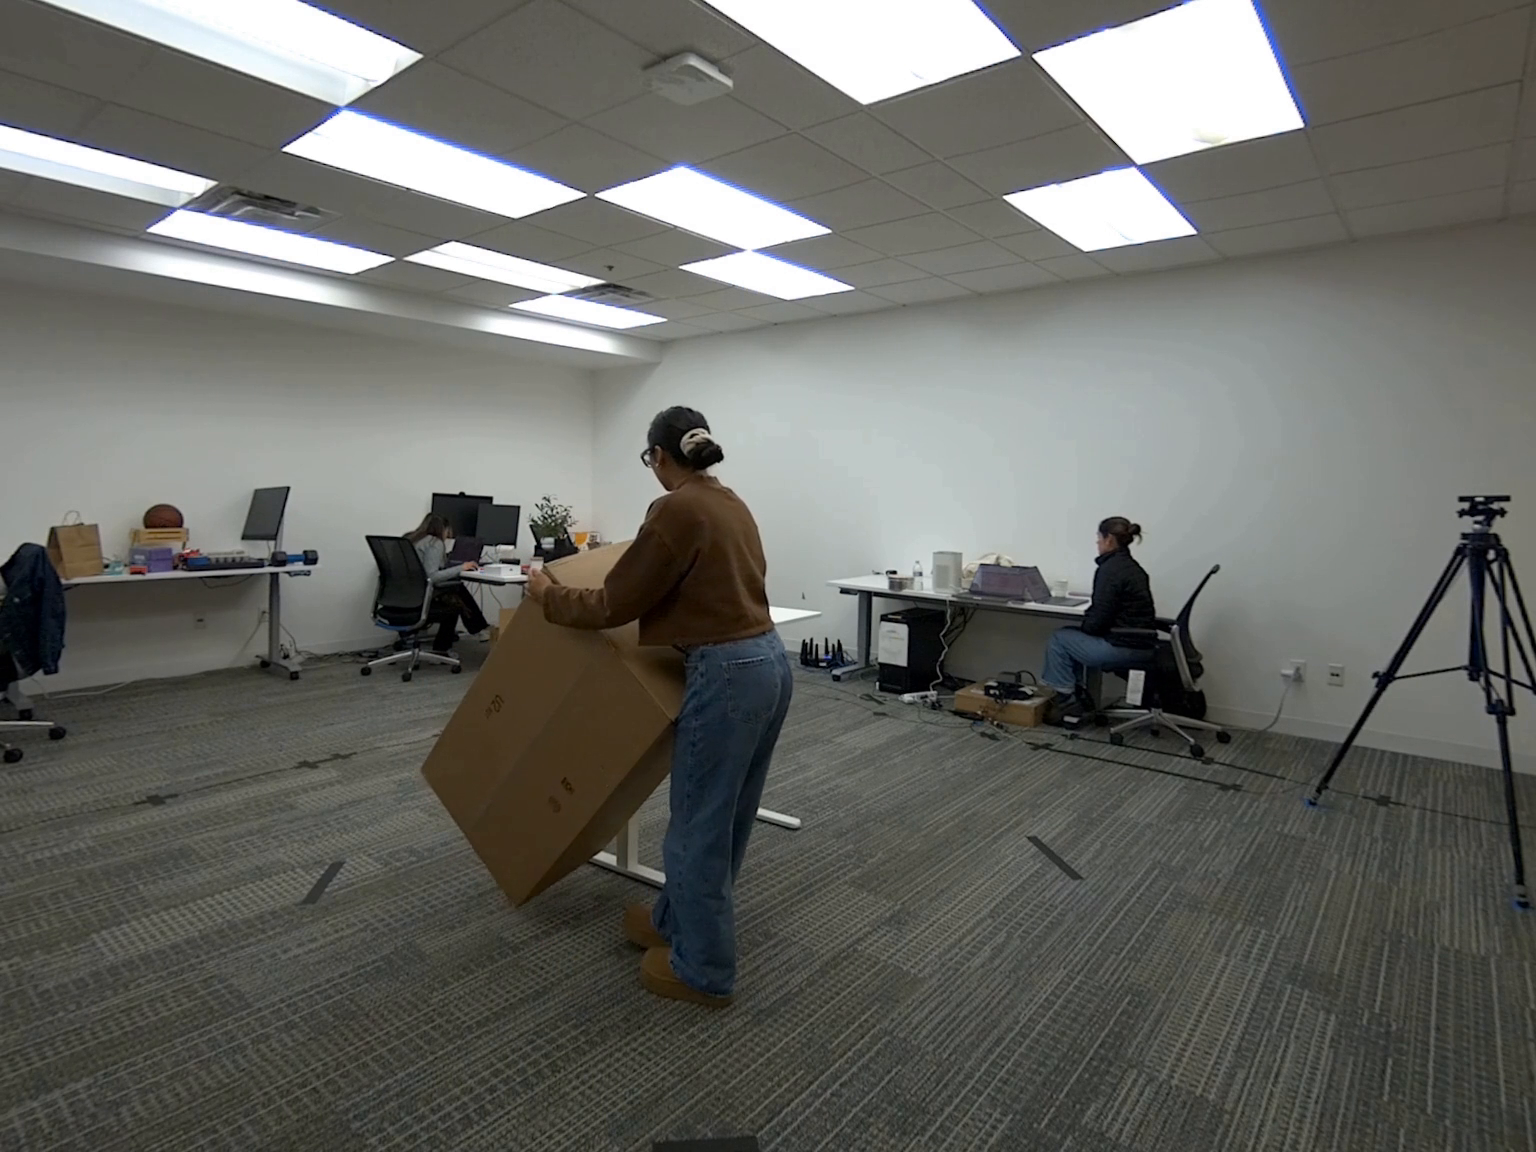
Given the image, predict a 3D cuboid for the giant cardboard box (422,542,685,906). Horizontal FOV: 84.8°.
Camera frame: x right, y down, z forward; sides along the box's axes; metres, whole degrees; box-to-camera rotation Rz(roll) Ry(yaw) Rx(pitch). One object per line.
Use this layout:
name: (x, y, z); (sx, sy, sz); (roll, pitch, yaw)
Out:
giant cardboard box: (-0.623, 0.470, 2.709); (0.591, 1.023, 0.418); (48, 30, 15)
